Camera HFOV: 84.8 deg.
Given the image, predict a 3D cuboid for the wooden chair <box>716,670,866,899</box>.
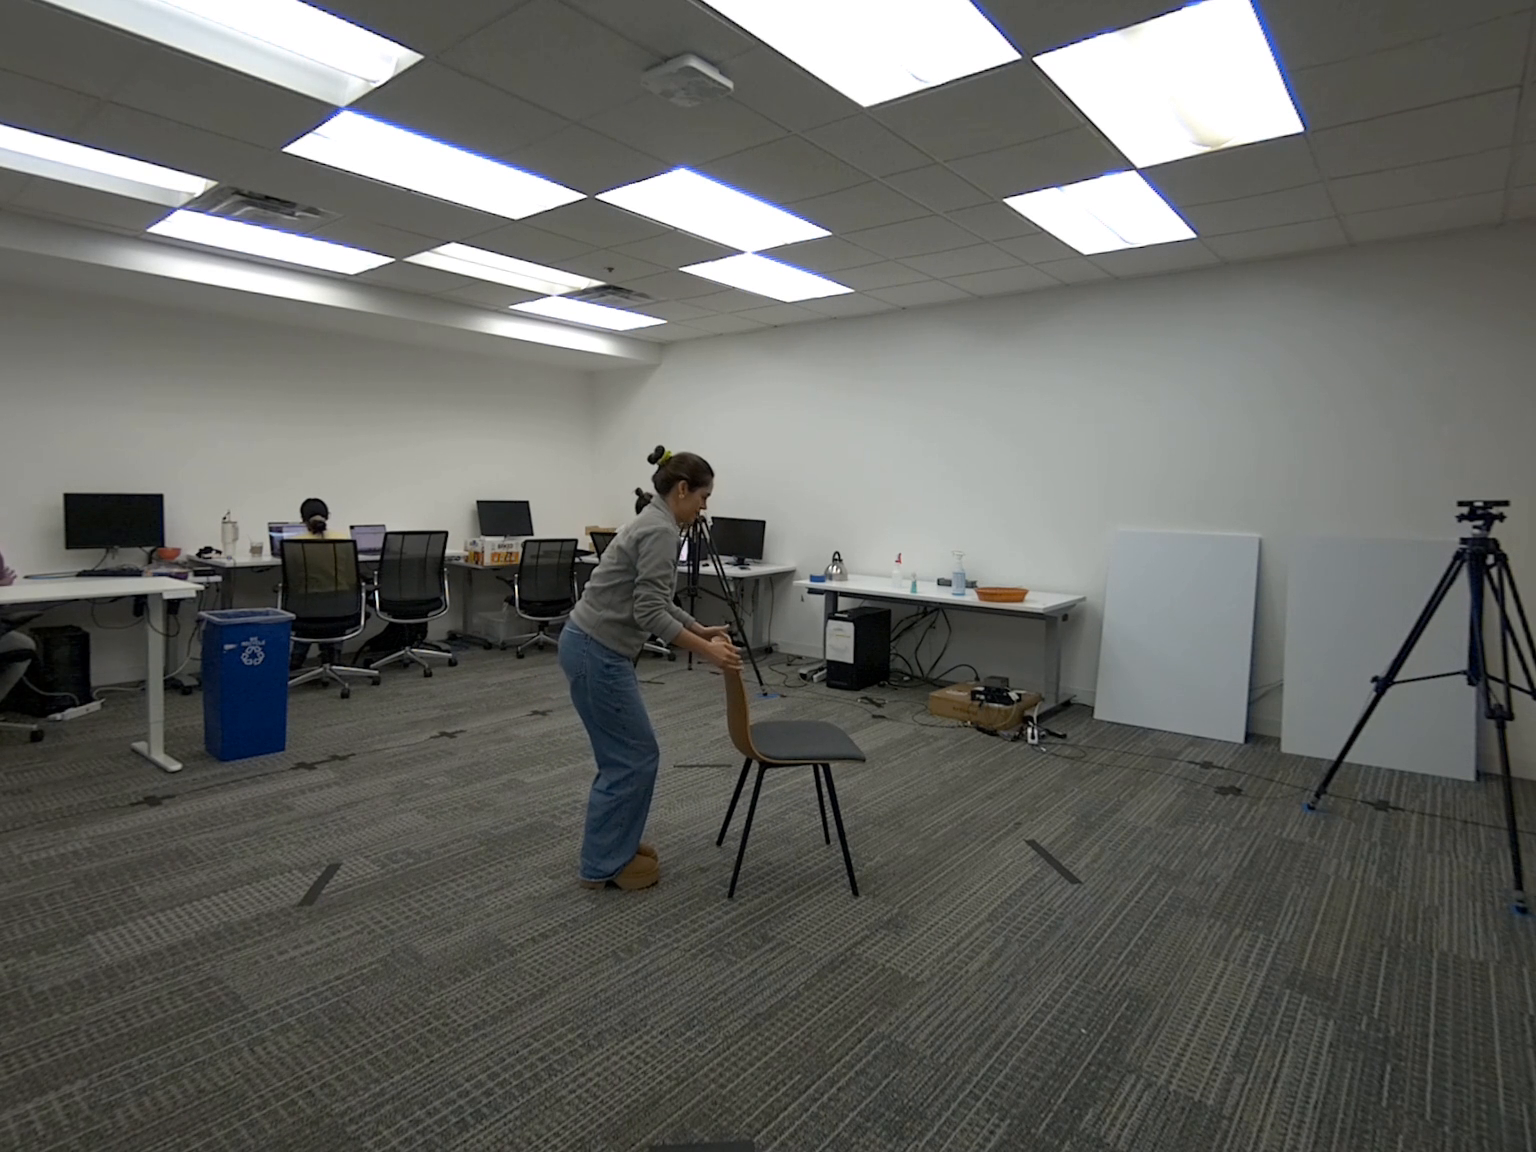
[{"bbox_3d":[0.069,0.657,3.105,0.520,0.875,0.482,-3,3,-7],"label":"wooden chair"}]
